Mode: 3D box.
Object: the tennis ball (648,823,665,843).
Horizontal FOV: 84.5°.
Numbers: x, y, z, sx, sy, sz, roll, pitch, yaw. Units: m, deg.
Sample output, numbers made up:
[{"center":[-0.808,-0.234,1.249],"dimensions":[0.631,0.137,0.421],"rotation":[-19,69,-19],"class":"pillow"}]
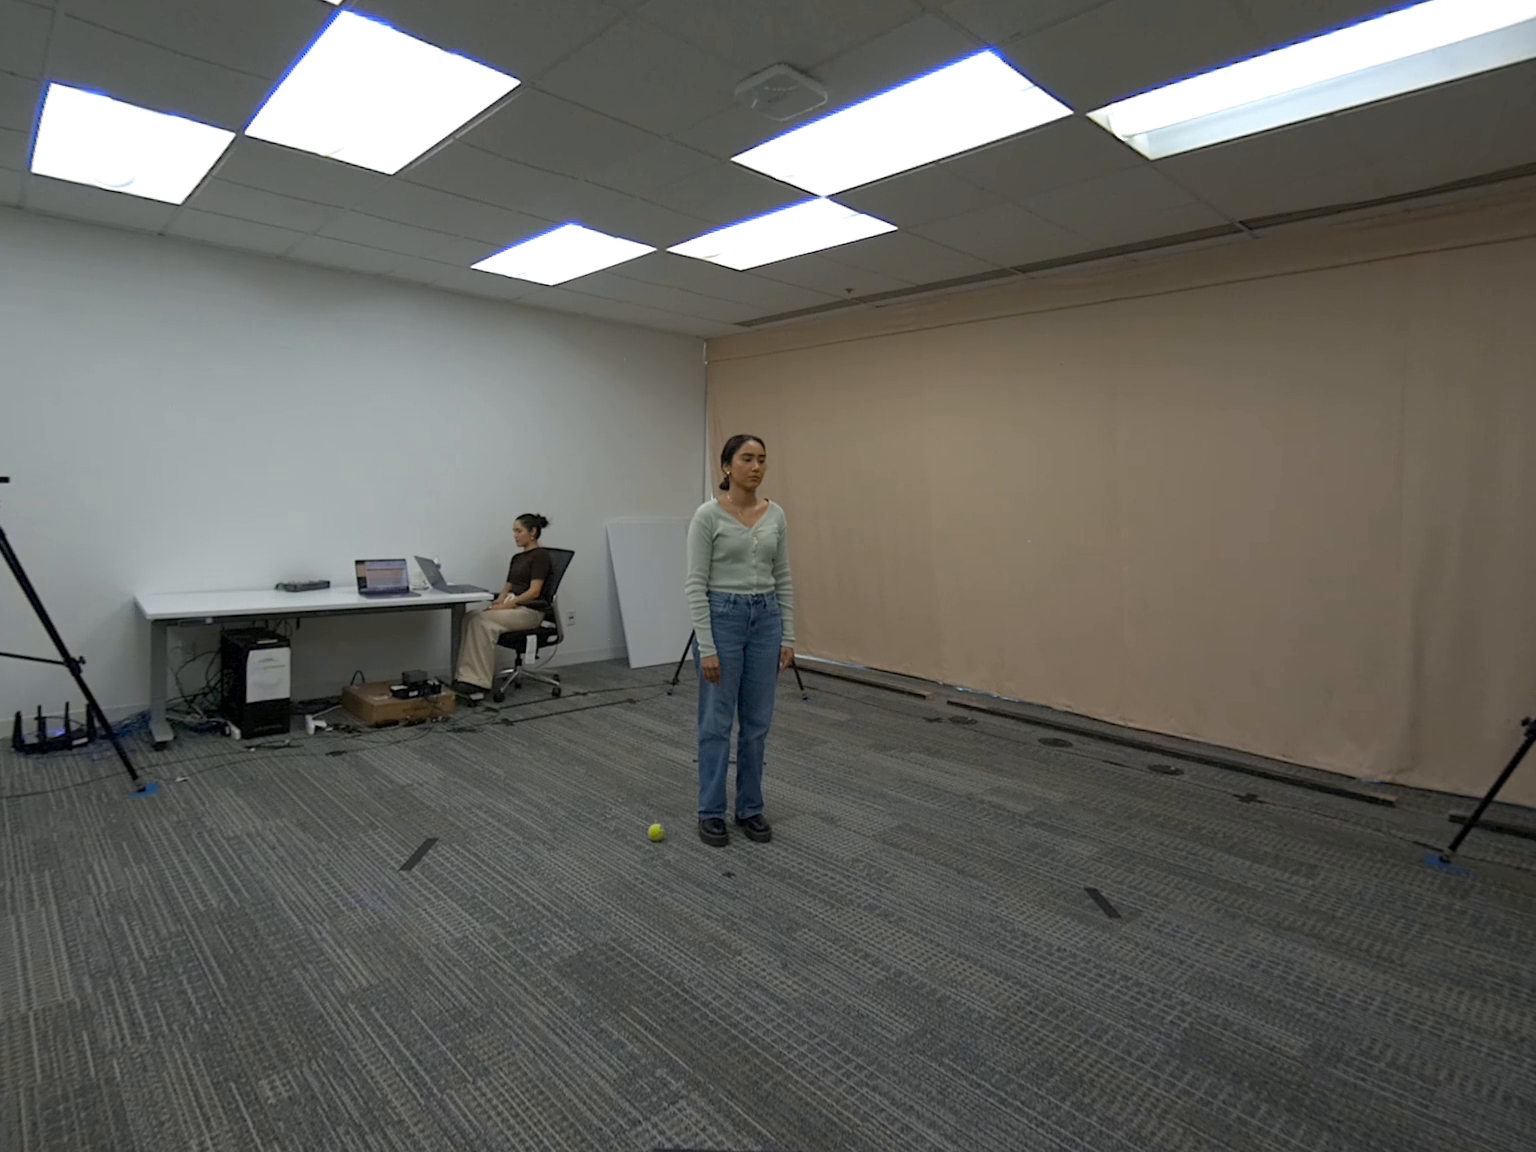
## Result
[{"center":[-0.468,1.022,3.398],"dimensions":[0.066,0.066,0.067],"rotation":[1,4,-1],"class":"tennis ball"}]
